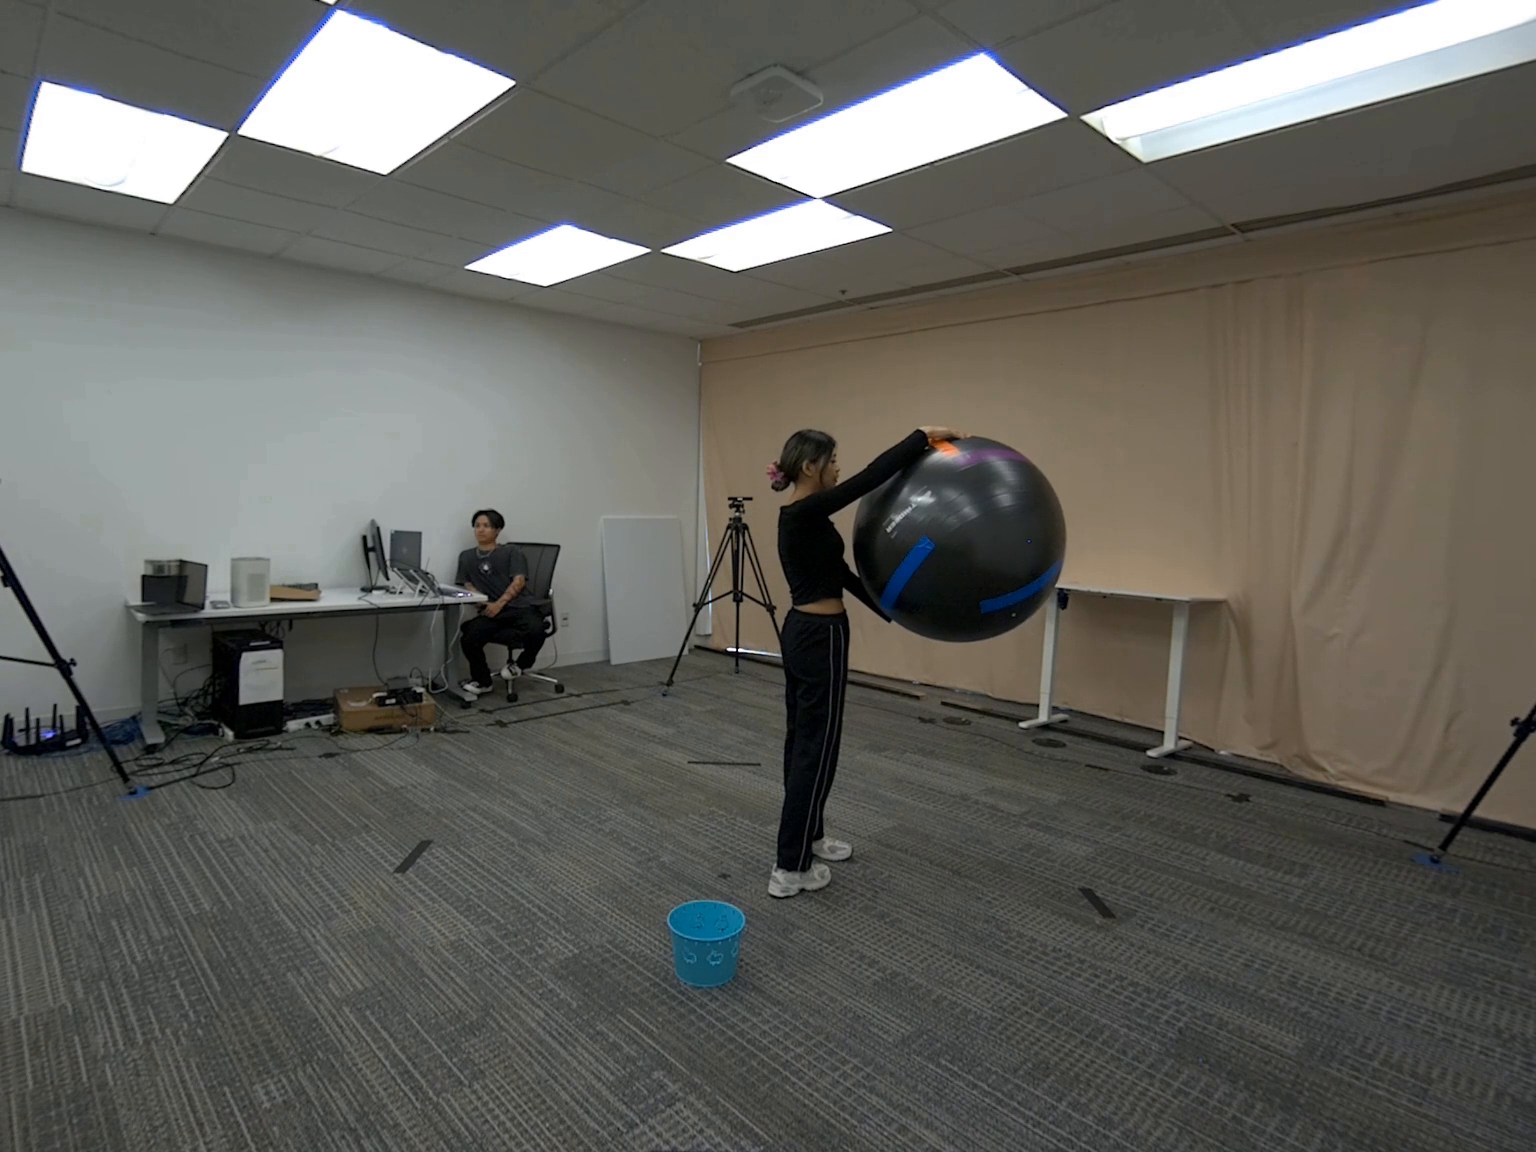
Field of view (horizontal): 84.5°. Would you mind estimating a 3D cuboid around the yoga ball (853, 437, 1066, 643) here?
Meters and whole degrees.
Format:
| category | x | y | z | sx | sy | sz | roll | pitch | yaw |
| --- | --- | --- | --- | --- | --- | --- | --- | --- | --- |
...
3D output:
| category | x | y | z | sx | sy | sz | roll | pitch | yaw |
| --- | --- | --- | --- | --- | --- | --- | --- | --- | --- |
| yoga ball | 0.688 | -0.133 | 3.087 | 0.757 | 0.756 | 0.761 | 1 | 4 | -1 |
